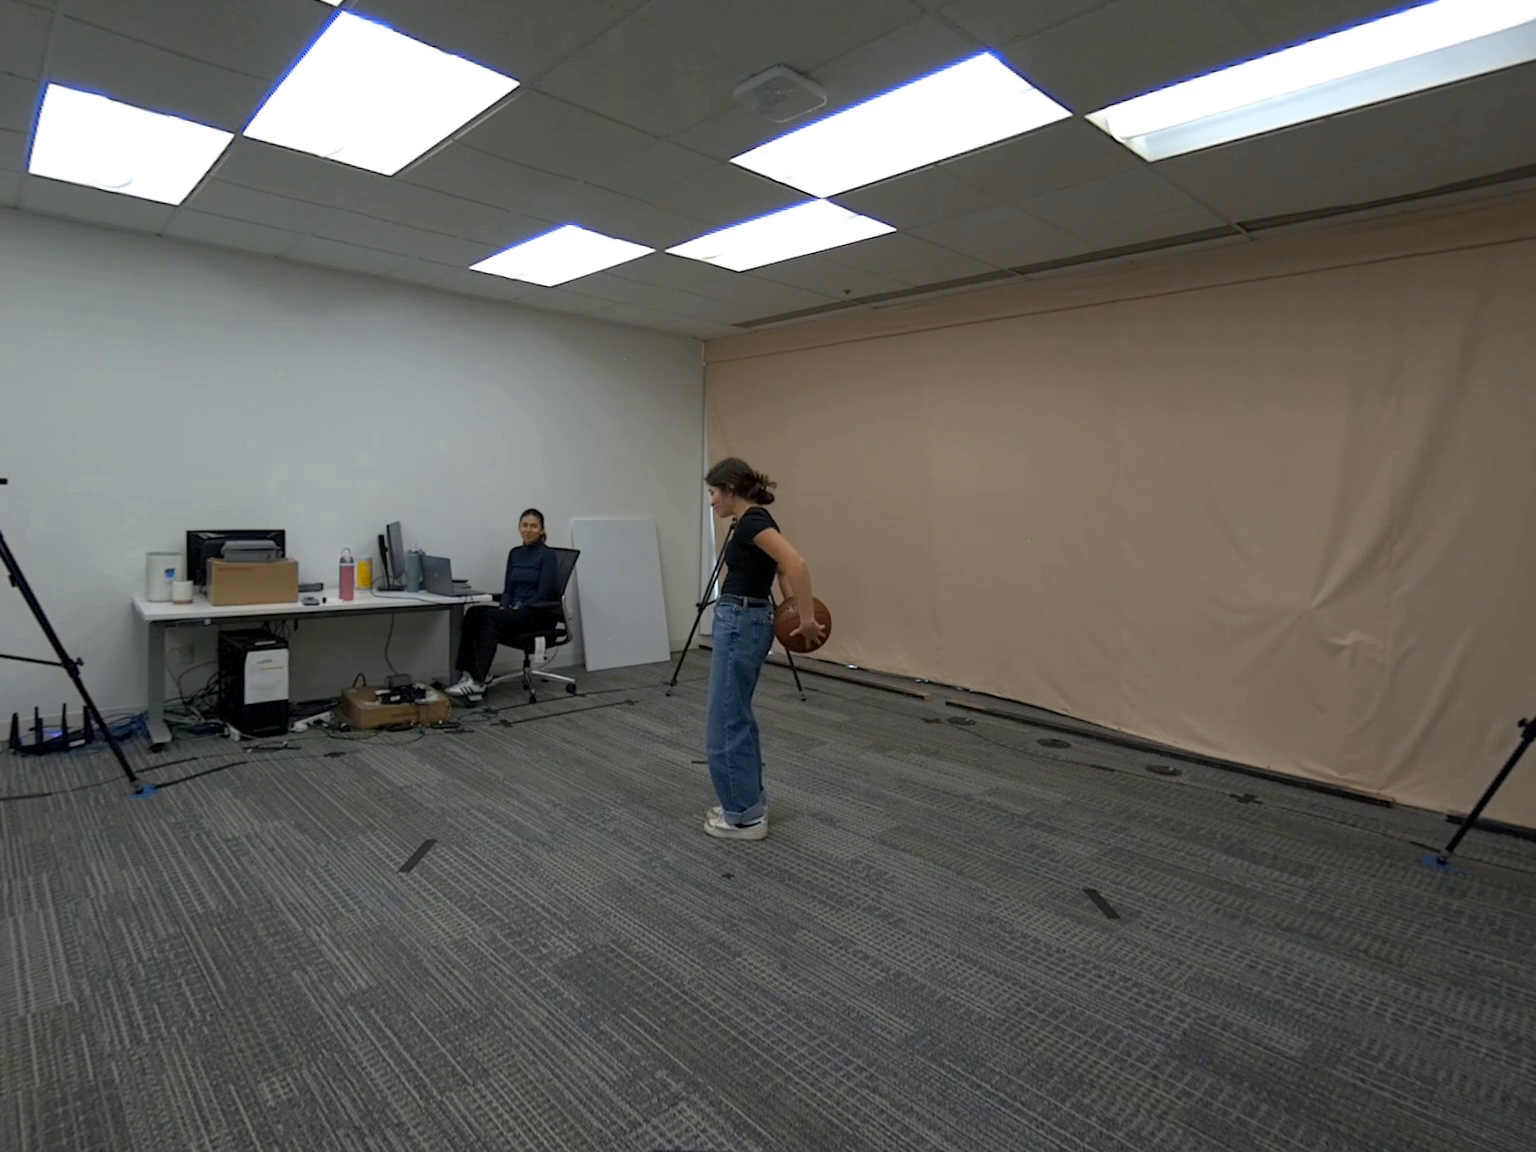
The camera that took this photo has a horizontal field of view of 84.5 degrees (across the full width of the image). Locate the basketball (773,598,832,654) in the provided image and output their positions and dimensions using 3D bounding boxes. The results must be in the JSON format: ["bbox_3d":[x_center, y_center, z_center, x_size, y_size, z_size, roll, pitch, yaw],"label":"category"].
[{"bbox_3d":[0.134,0.189,3.439,0.236,0.235,0.237,1,4,-1],"label":"basketball"}]
